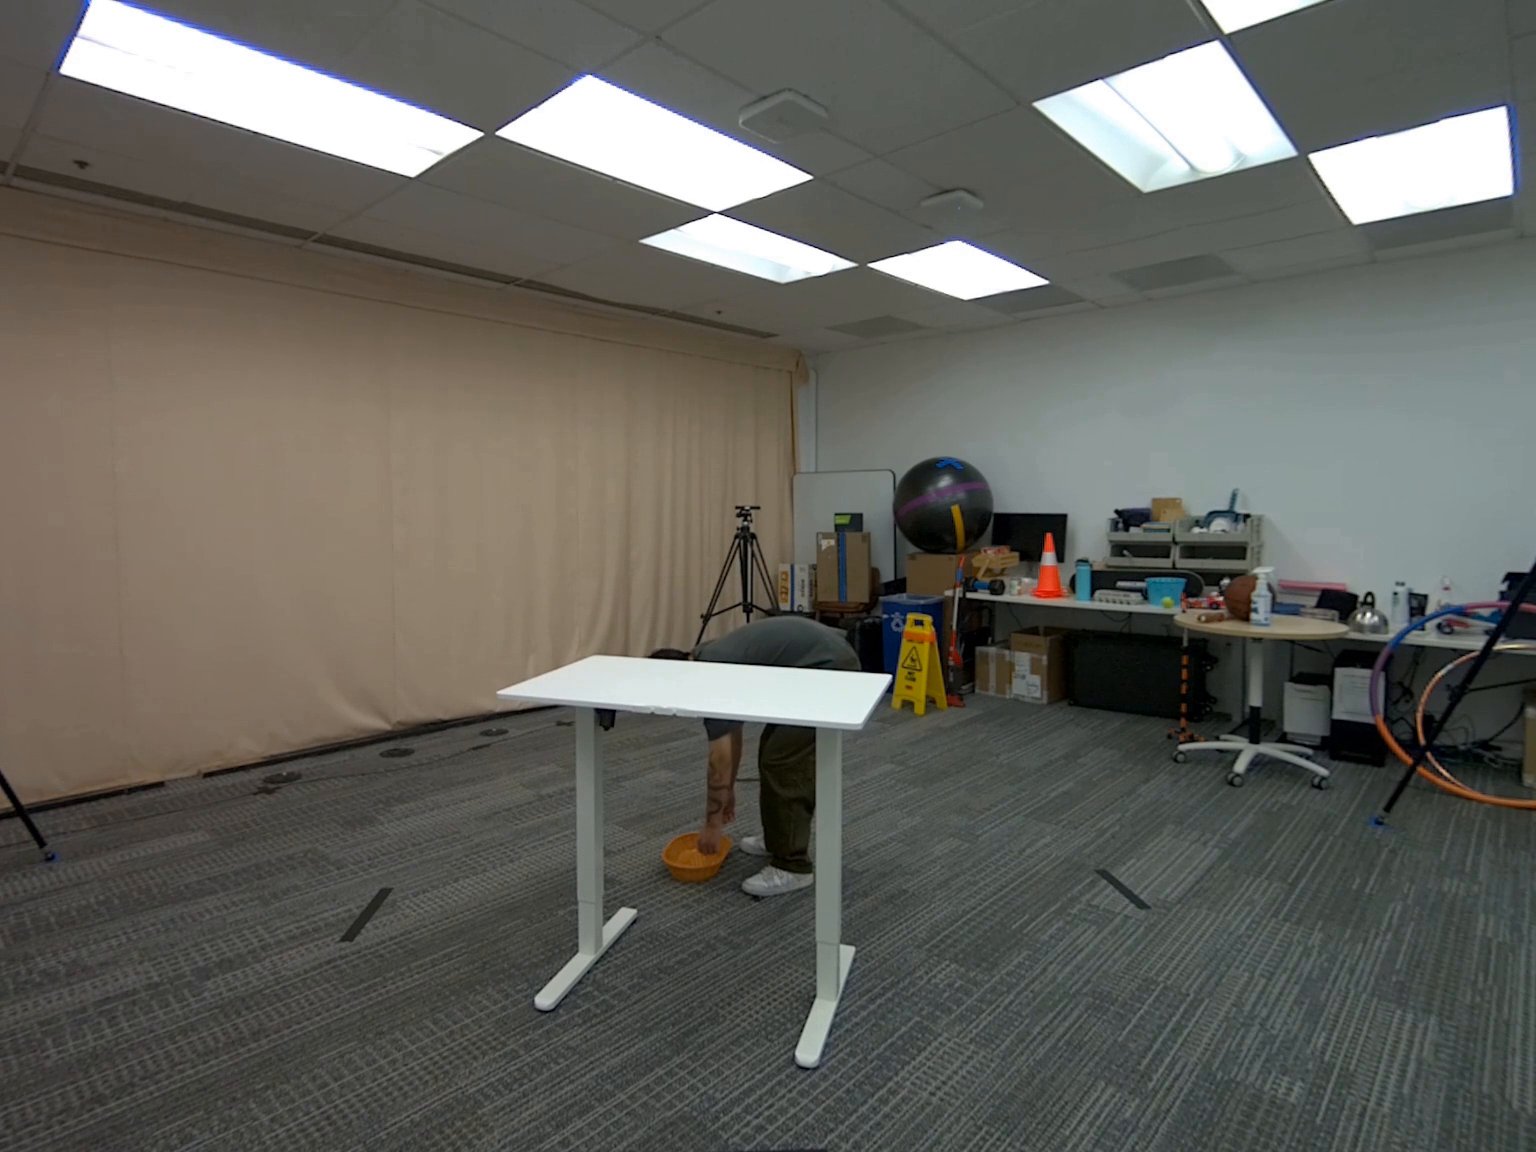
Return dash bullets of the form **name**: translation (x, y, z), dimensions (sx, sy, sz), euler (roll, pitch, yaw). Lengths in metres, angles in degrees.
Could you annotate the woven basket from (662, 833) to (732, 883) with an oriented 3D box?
- **woven basket**: translation (-0.273, 1.088, 3.255), dimensions (0.257, 0.073, 0.345), euler (1, 5, 16)
